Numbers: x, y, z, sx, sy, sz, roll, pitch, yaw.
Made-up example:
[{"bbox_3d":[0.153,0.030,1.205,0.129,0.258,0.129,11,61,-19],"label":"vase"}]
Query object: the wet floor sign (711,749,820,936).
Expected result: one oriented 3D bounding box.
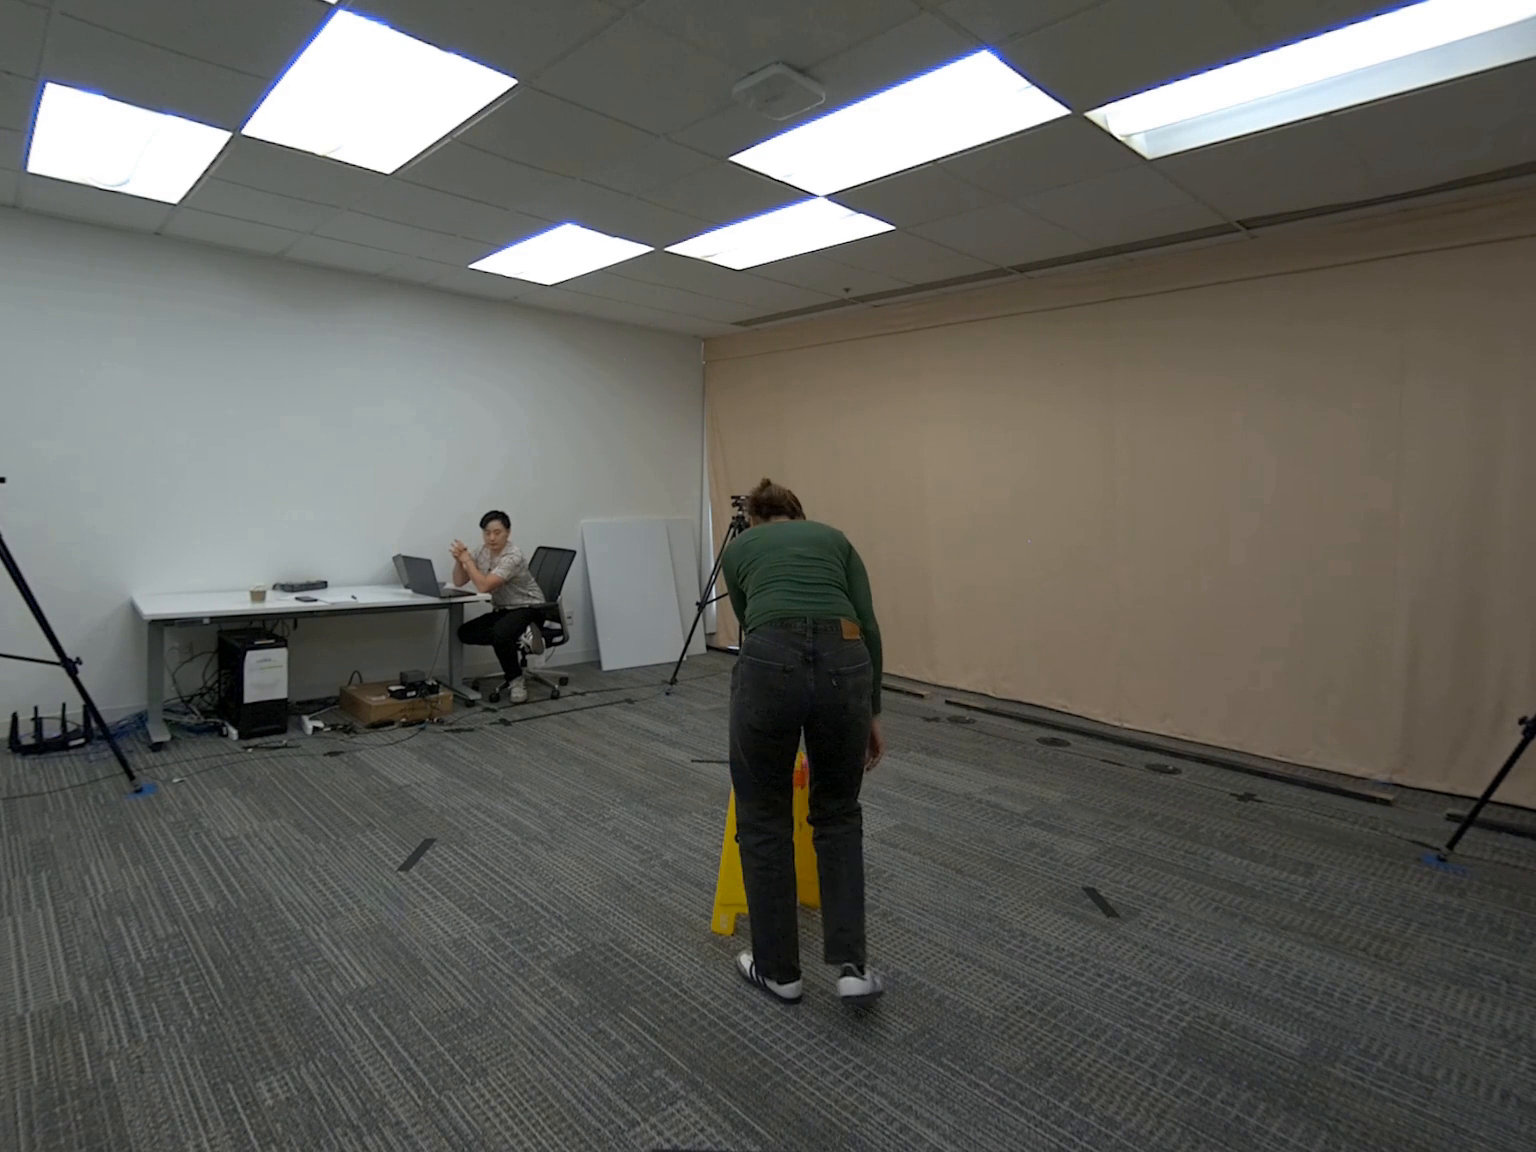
[{"bbox_3d":[0.004,0.815,2.765,0.287,0.644,0.285,3,3,21],"label":"wet floor sign"}]
